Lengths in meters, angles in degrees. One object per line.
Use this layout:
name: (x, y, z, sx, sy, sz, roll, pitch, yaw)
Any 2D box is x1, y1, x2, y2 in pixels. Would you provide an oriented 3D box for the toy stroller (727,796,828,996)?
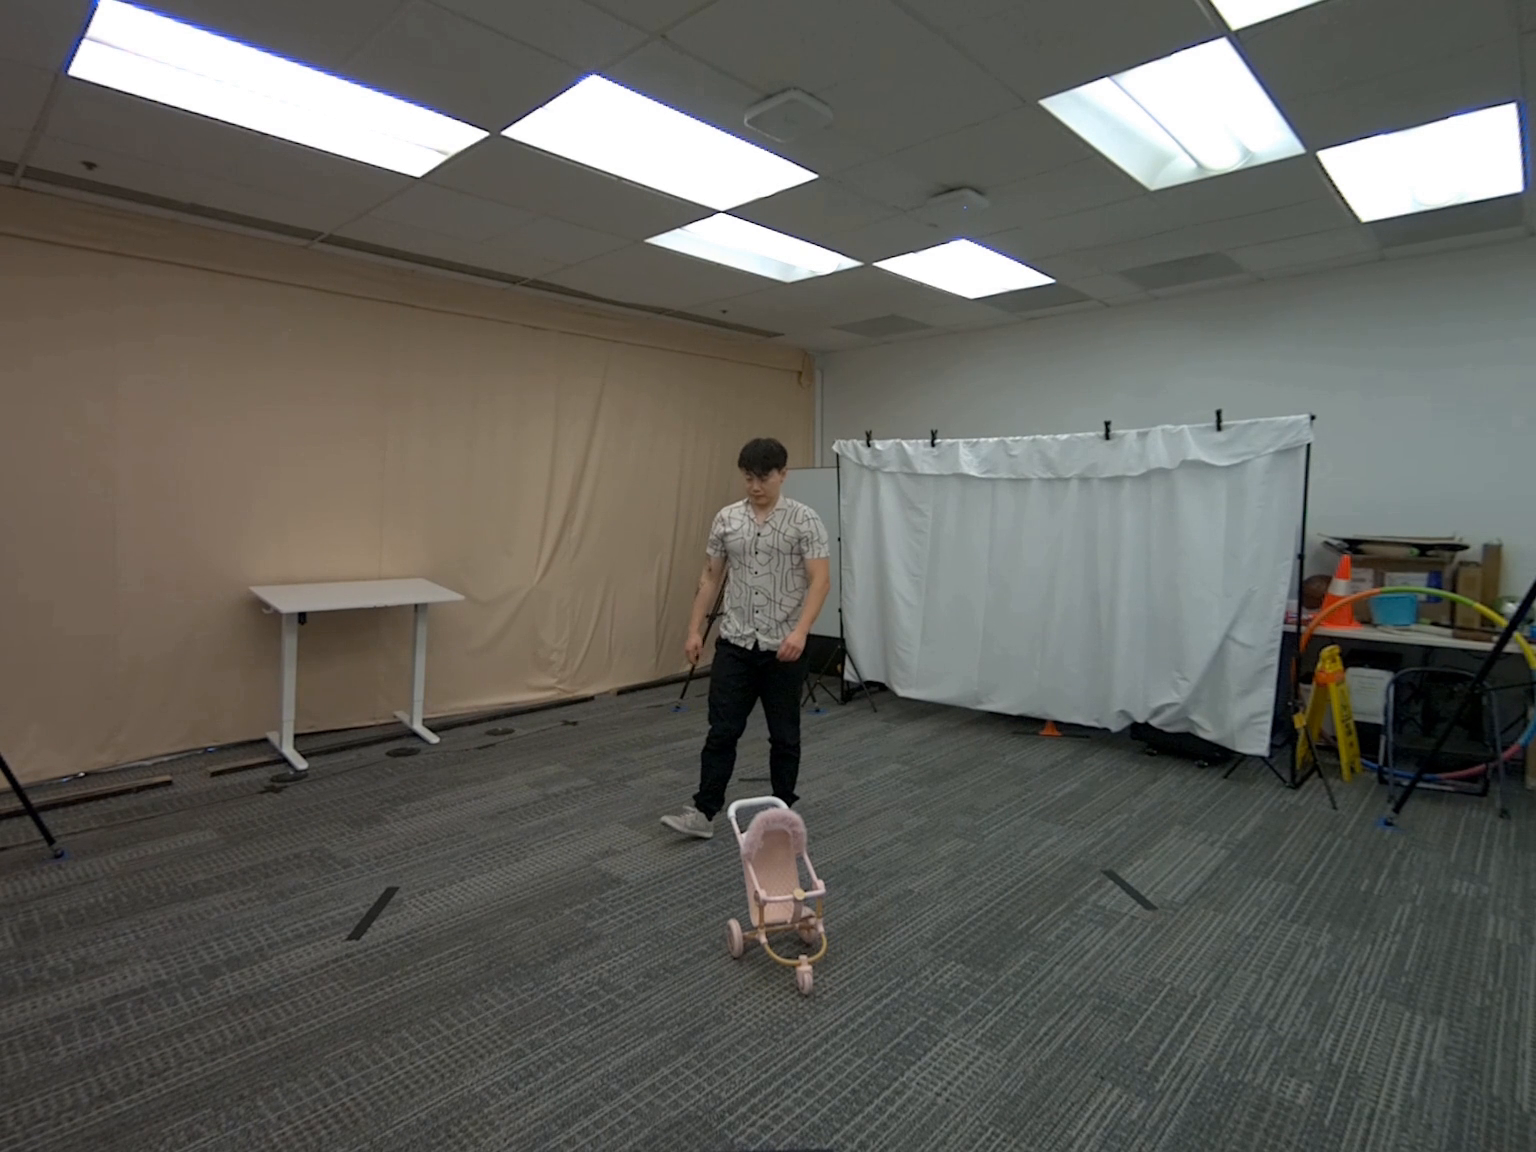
toy stroller: (0.033, 0.950, 2.580, 0.277, 0.540, 0.344, -1, -13, -16)
